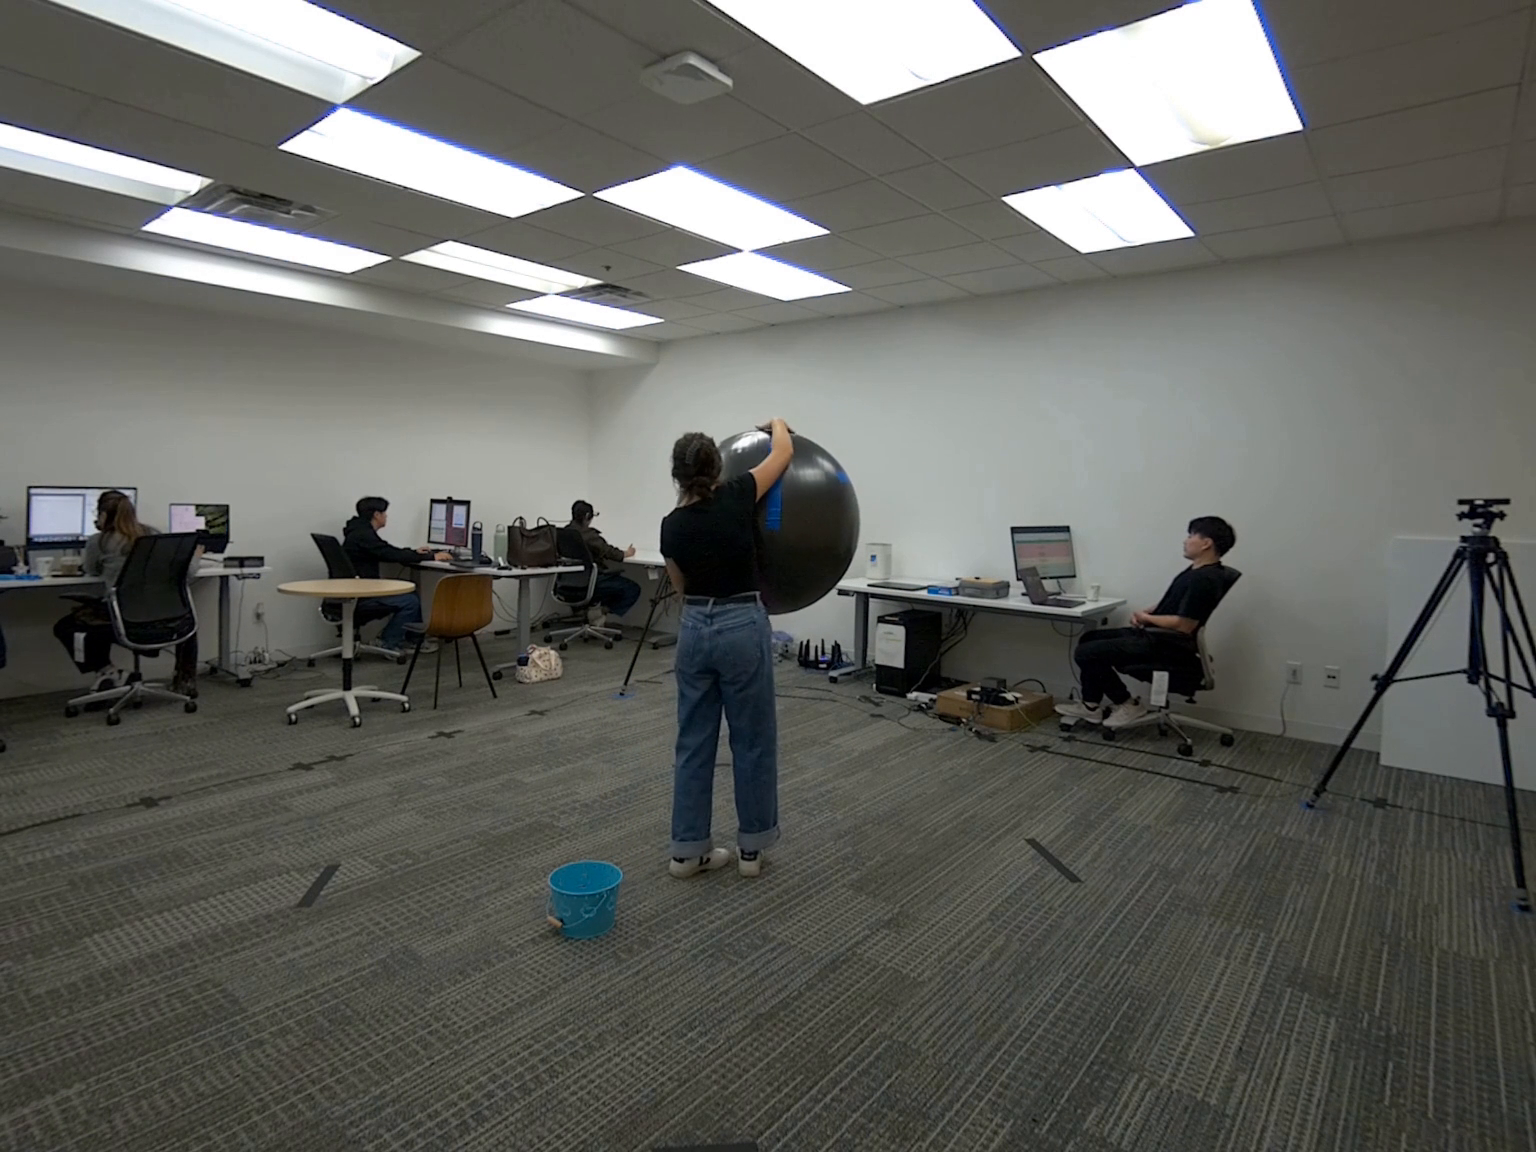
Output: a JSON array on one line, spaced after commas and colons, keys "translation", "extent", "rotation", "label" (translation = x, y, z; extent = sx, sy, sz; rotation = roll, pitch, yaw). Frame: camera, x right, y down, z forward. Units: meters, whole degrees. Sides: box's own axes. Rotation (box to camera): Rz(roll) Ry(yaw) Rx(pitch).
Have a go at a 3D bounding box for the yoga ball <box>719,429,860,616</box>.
[{"translation": [-0.015, -0.217, 3.494], "extent": [0.757, 0.755, 0.762], "rotation": [1, 4, -2], "label": "yoga ball"}]
